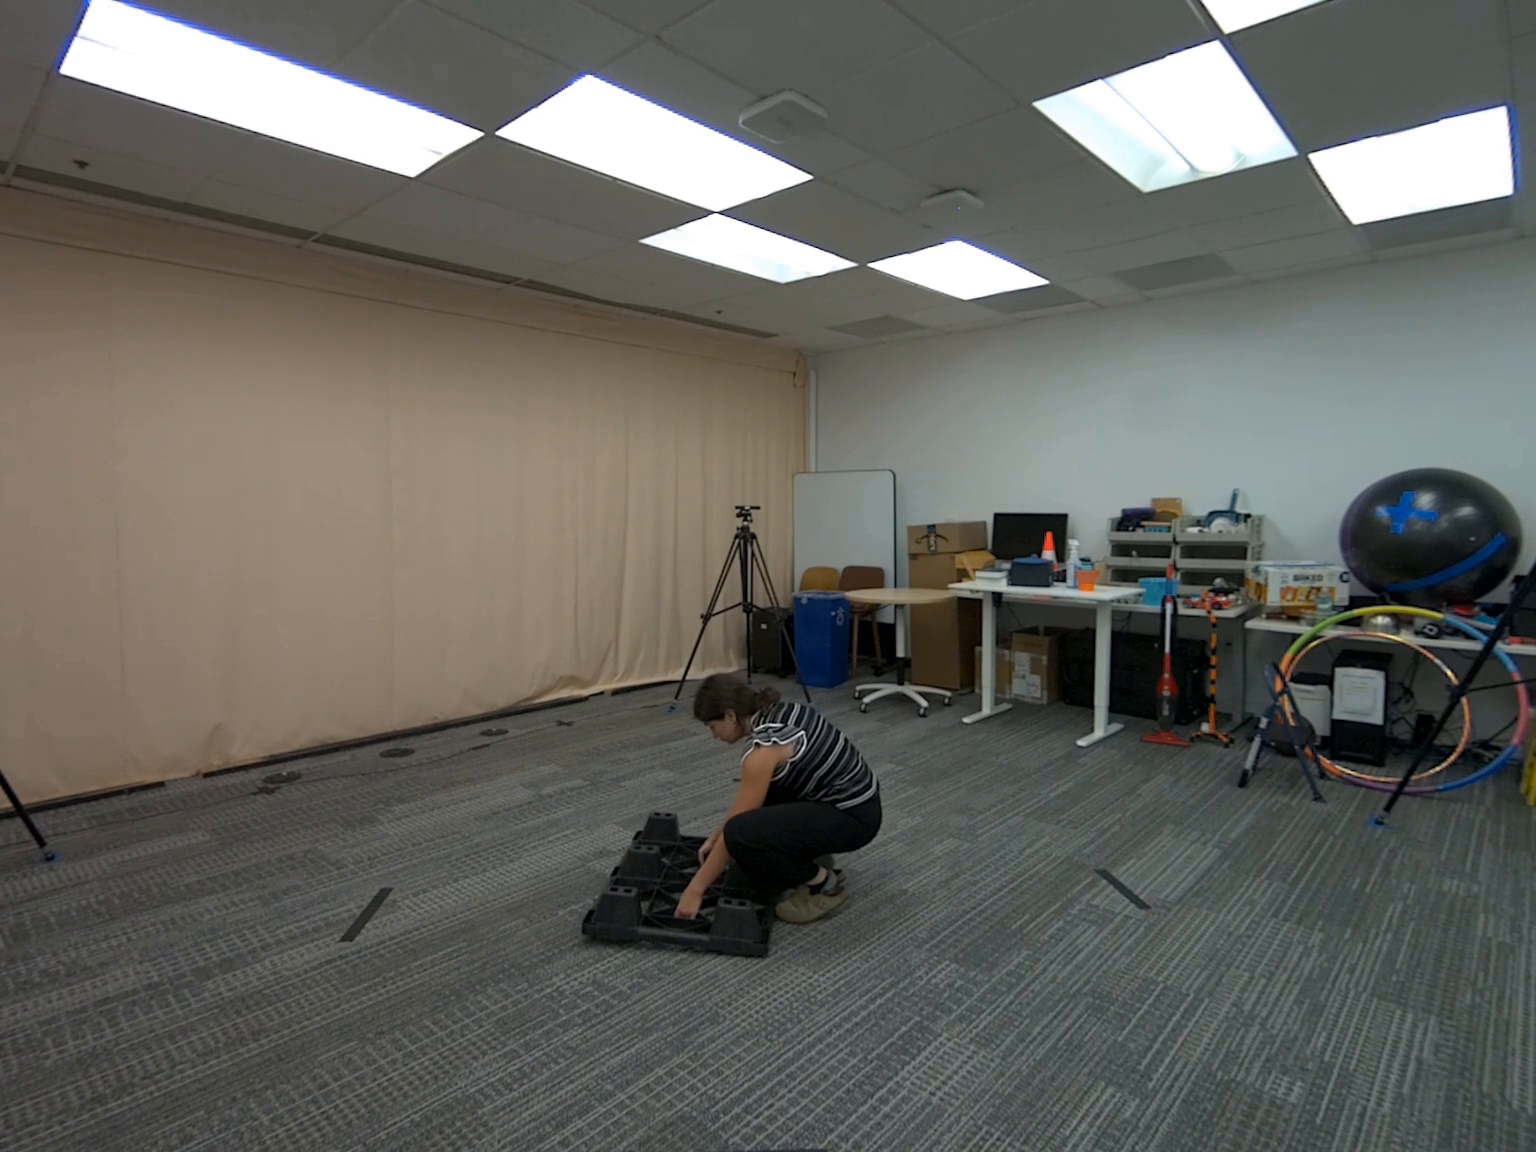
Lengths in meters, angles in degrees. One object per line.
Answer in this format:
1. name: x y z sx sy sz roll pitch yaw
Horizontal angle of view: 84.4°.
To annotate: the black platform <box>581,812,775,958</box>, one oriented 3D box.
1. black platform: -0.270 1.049 3.017 0.609 0.143 0.802 3 5 5
